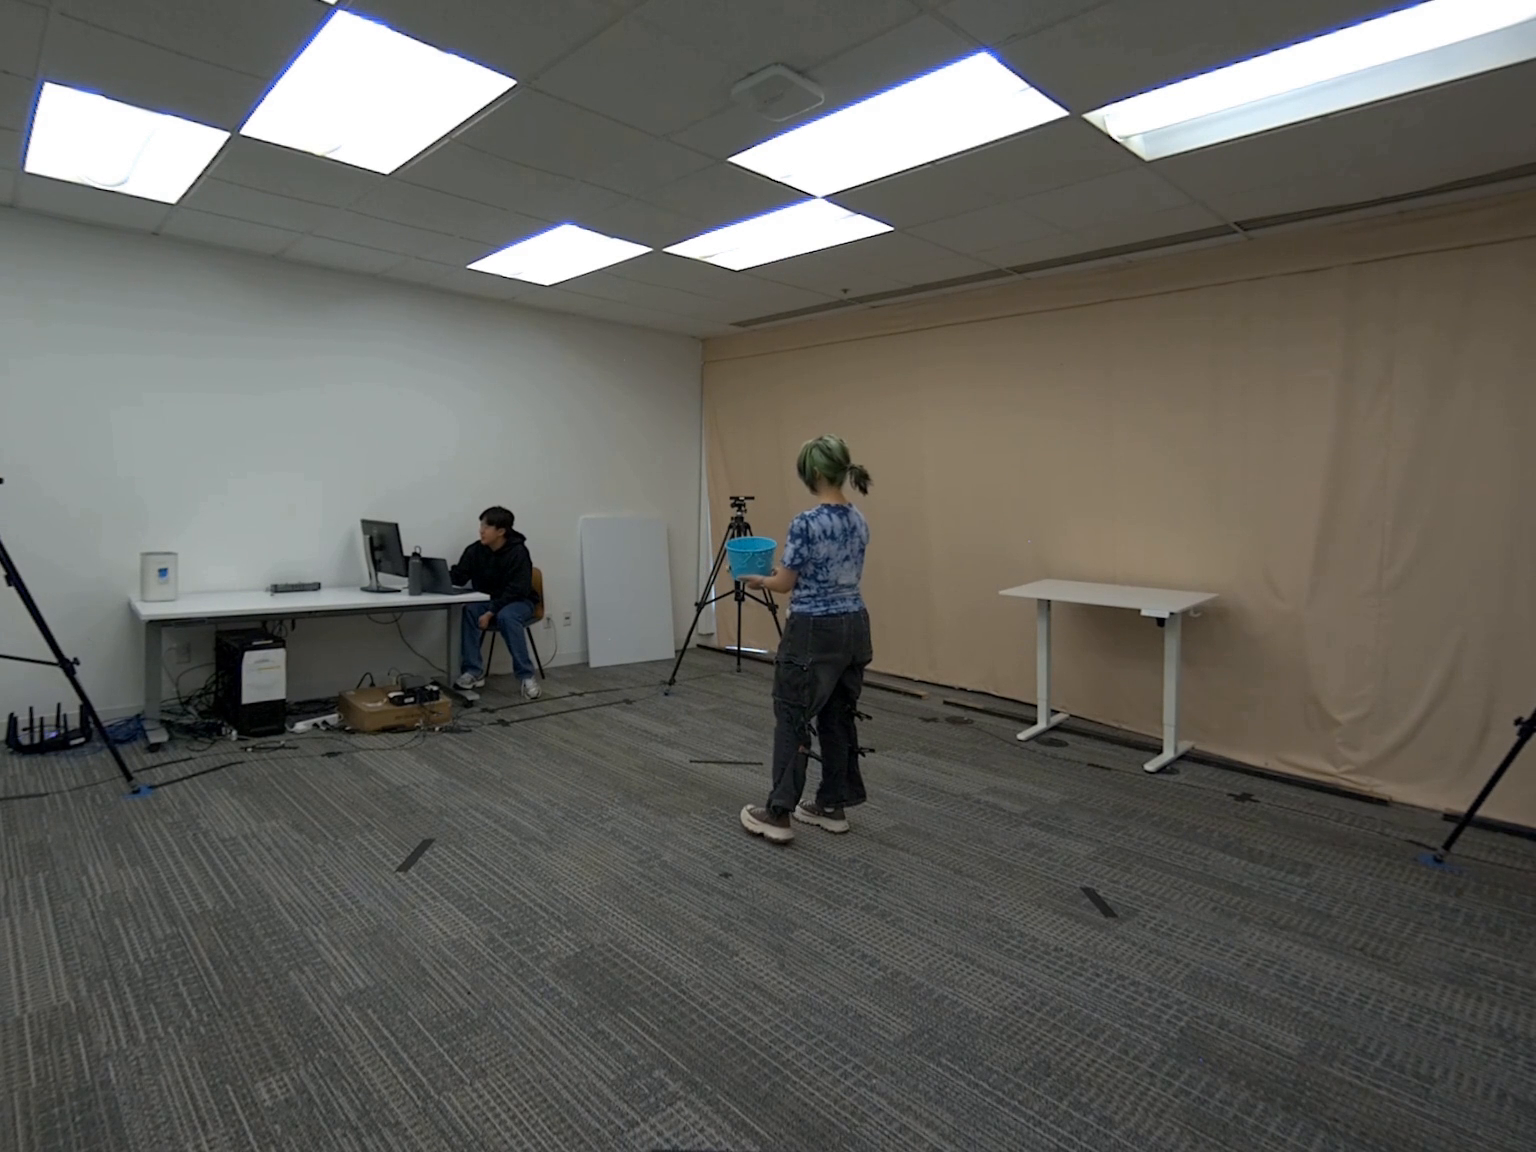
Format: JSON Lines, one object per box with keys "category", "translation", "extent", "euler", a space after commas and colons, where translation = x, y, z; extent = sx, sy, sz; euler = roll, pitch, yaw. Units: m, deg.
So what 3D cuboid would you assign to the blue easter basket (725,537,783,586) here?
{"category": "blue easter basket", "translation": [-0.069, -0.071, 3.807], "extent": [0.243, 0.154, 0.246], "euler": [0, 17, -1]}
